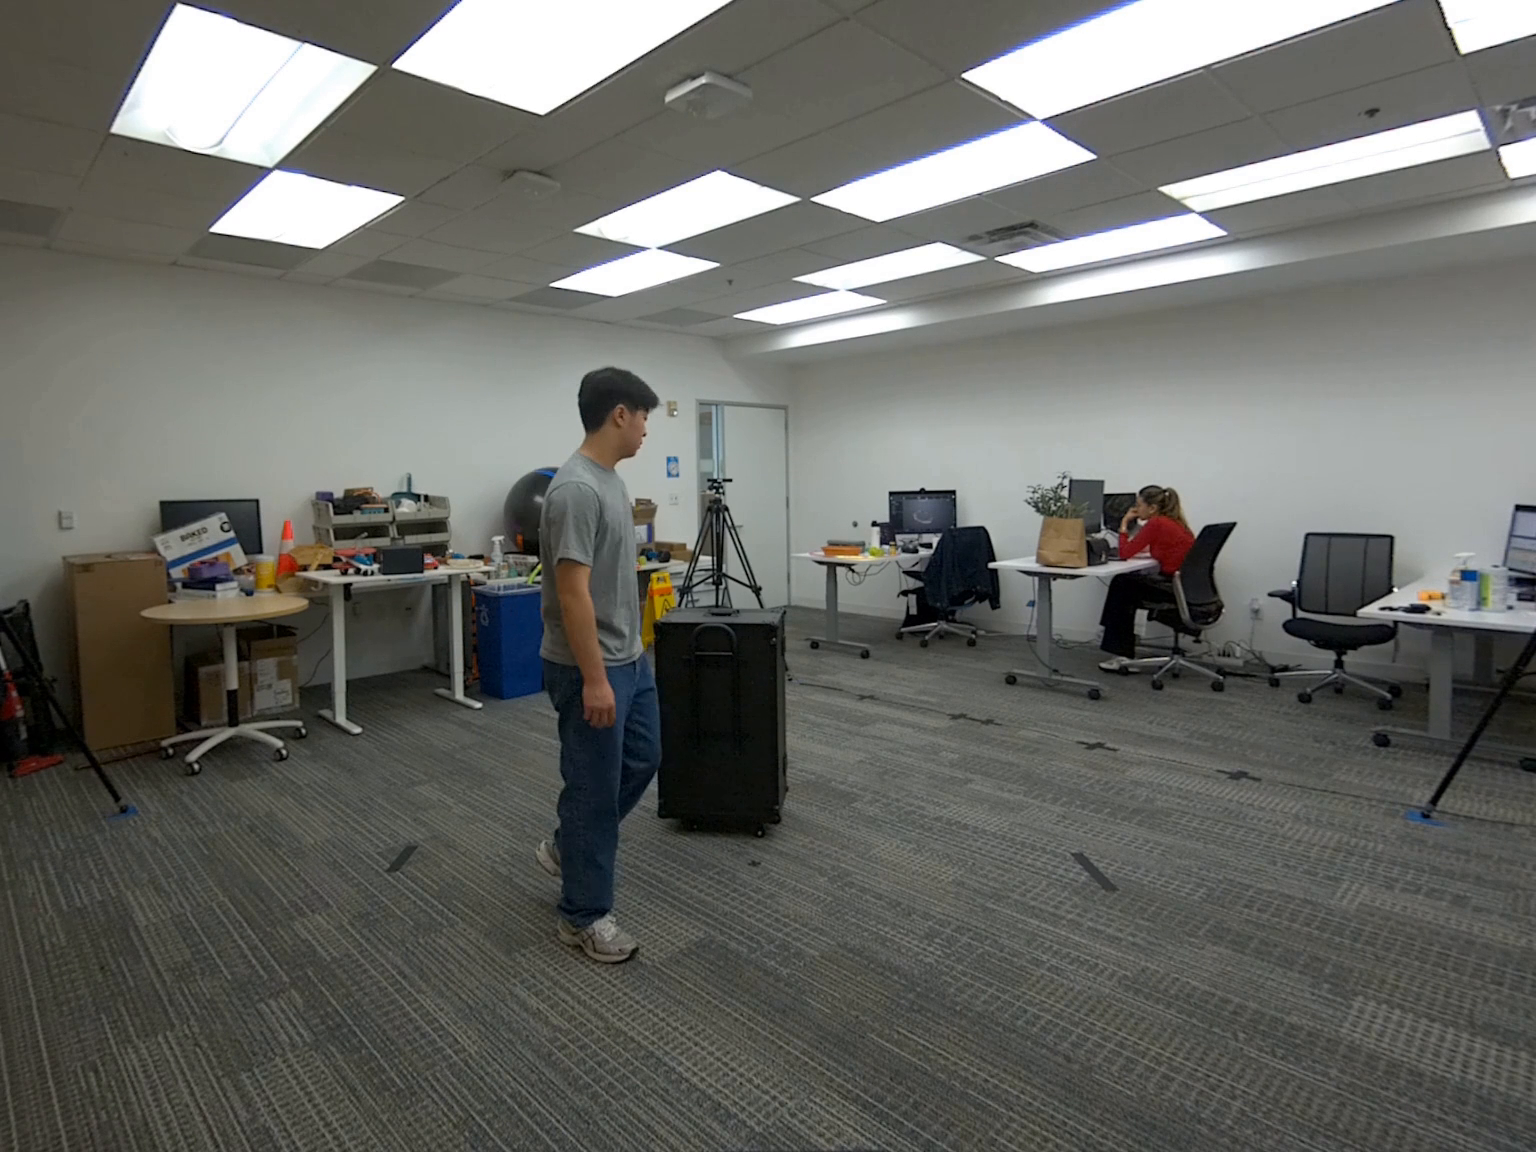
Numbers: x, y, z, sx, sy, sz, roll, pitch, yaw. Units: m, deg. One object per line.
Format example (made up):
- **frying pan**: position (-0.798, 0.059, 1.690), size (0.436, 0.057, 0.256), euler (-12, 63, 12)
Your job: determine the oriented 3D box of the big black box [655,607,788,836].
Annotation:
- **big black box**: position (-0.172, 0.580, 3.463), size (0.526, 0.857, 0.394), euler (0, 5, 9)
